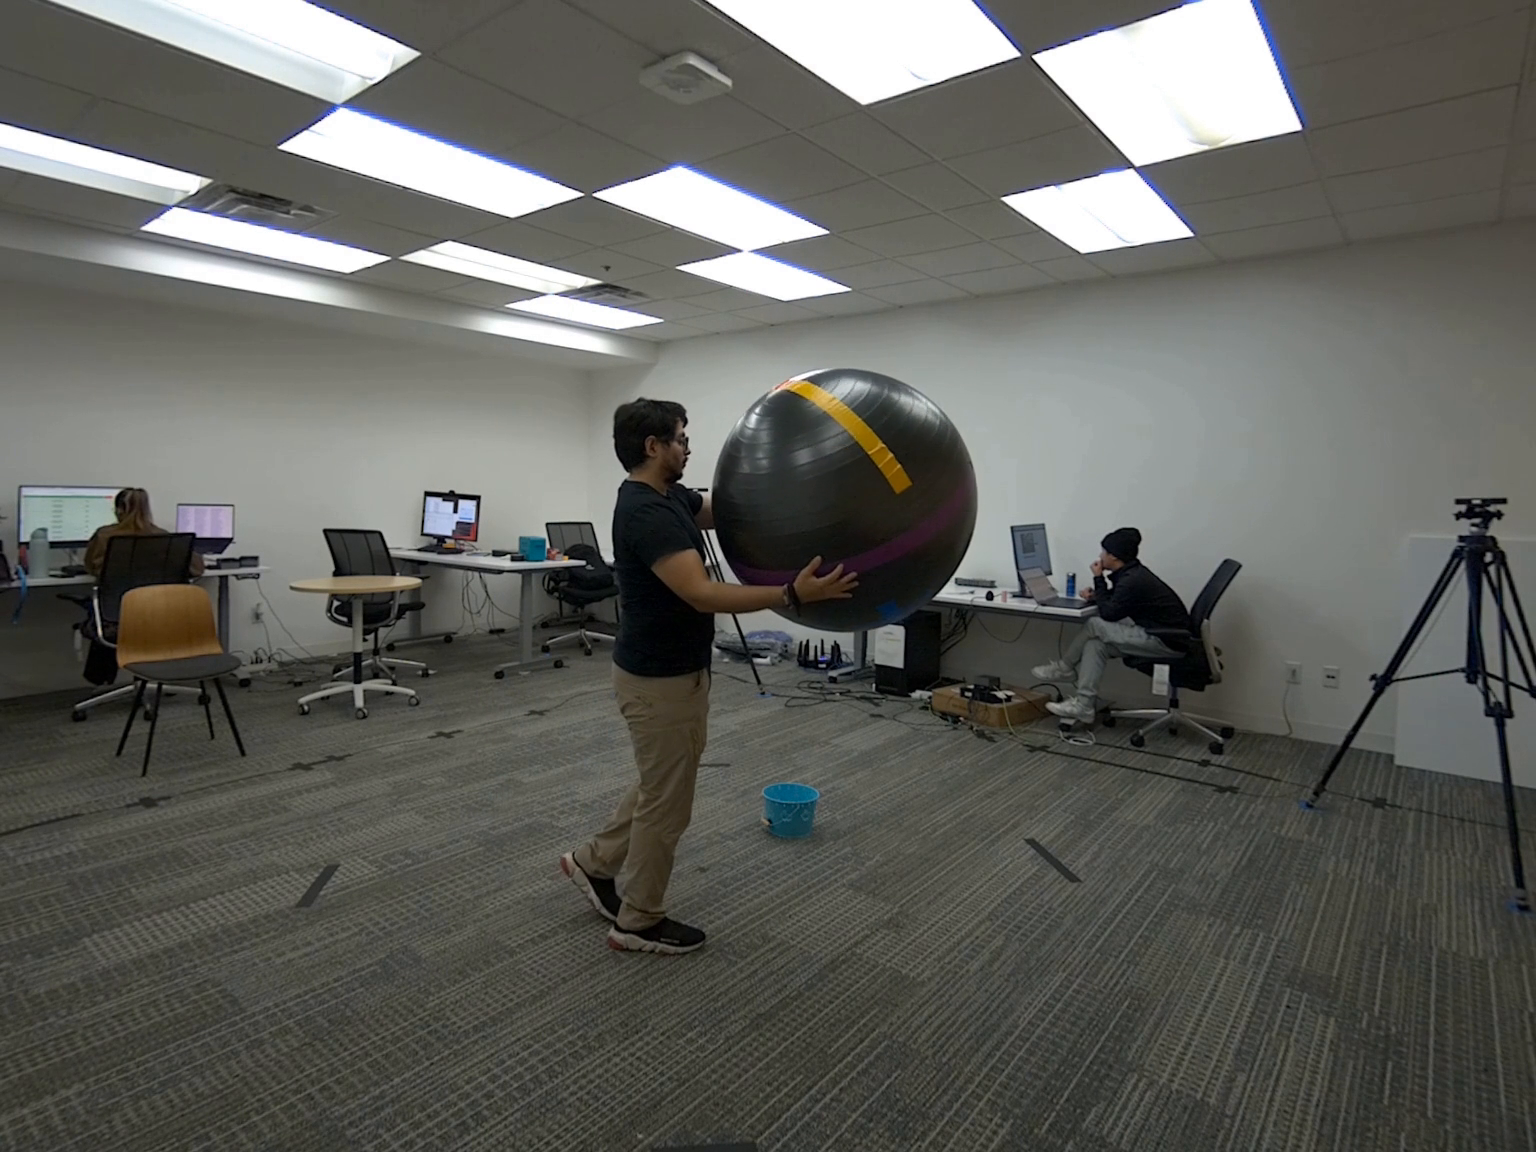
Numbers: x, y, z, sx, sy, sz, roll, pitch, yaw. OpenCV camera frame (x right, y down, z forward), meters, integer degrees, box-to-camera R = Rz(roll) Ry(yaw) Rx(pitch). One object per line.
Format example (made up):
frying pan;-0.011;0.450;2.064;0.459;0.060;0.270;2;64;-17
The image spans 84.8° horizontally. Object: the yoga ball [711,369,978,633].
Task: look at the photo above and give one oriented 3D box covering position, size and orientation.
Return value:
yoga ball;0.218;-0.218;2.467;0.757;0.755;0.762;1;4;-2
